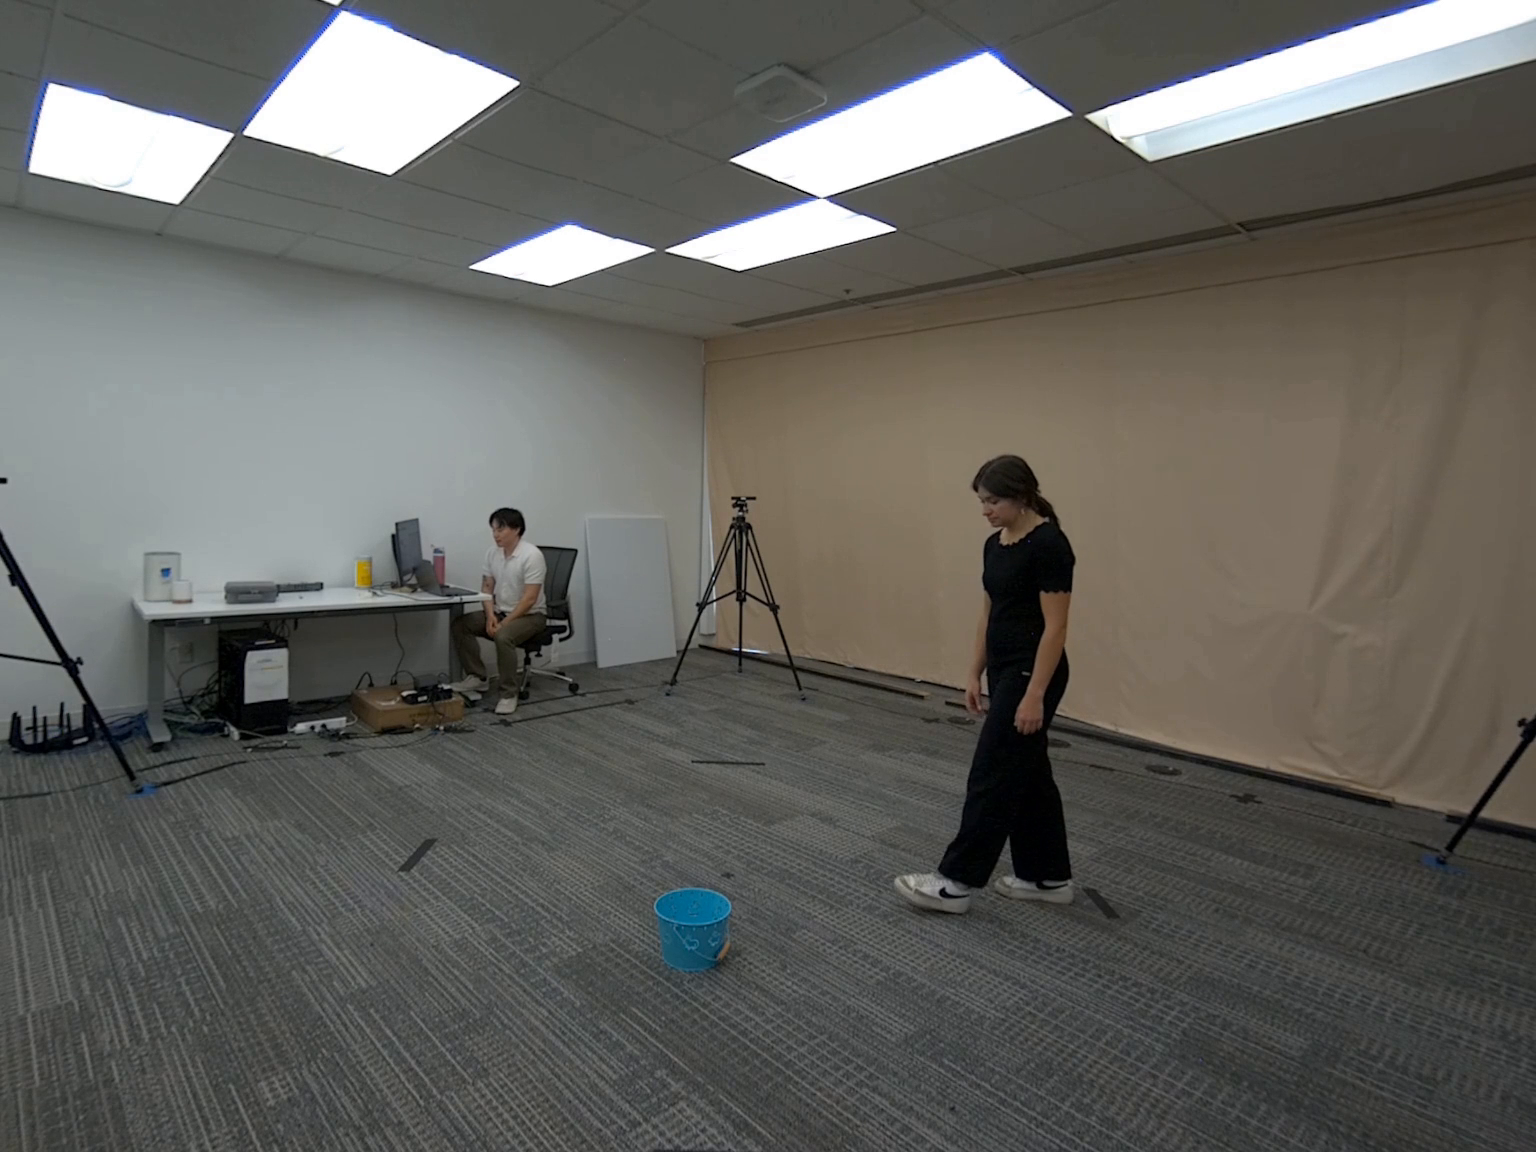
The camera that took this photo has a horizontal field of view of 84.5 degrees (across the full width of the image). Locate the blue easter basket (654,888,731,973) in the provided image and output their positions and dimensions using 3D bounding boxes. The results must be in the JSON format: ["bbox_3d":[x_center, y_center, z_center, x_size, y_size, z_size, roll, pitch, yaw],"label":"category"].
[{"bbox_3d":[-0.237,1.076,2.549,0.243,0.155,0.244,1,5,-1],"label":"blue easter basket"}]
